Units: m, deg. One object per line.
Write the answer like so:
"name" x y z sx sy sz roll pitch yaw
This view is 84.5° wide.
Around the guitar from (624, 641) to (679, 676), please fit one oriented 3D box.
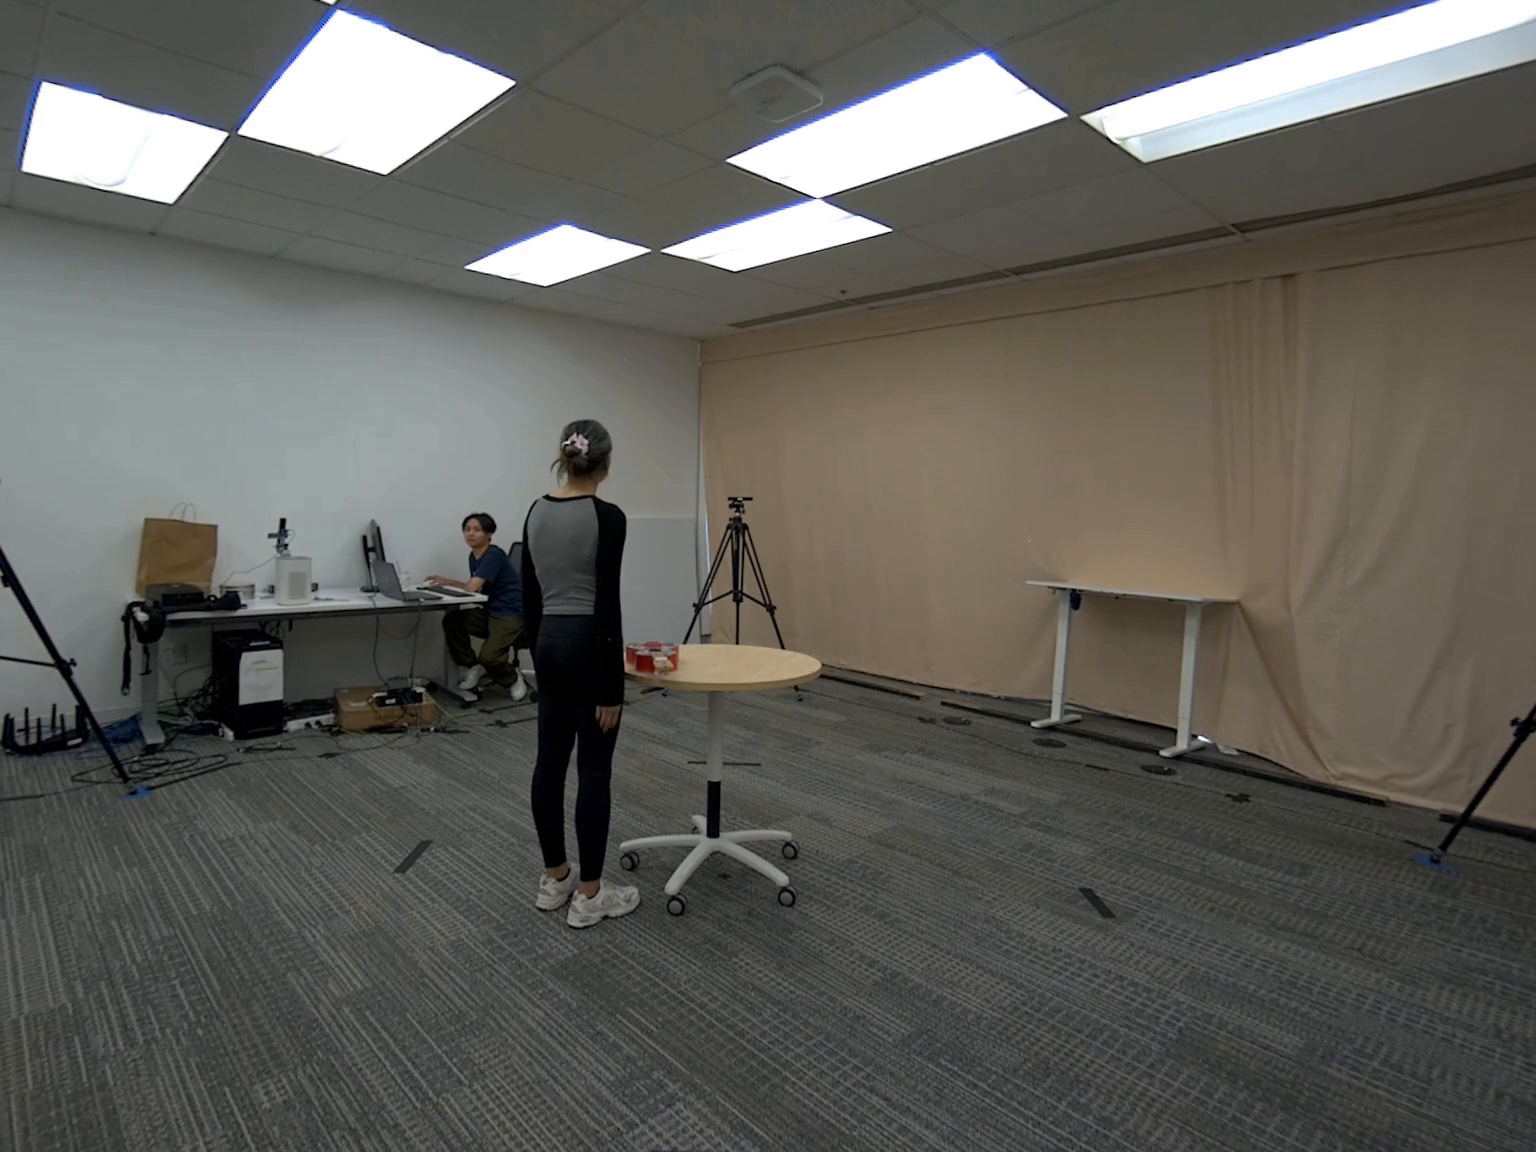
"guitar" -0.409 0.295 2.878 0.192 0.070 0.501 1 4 -5
